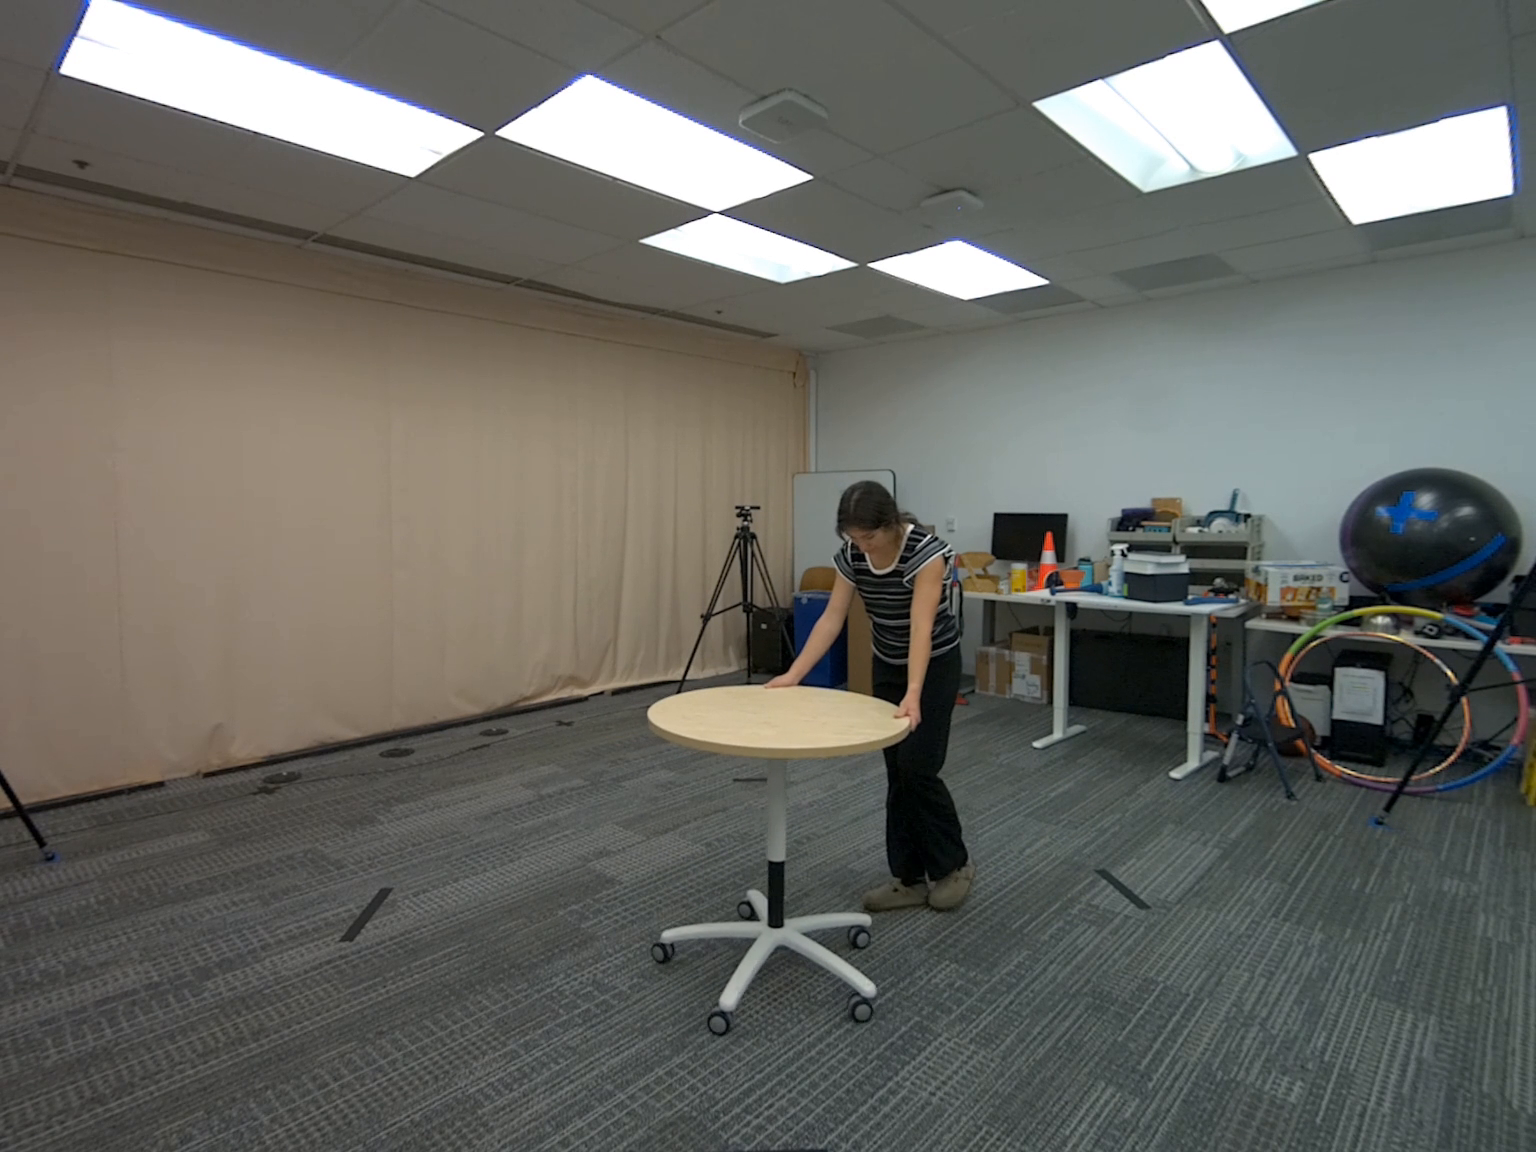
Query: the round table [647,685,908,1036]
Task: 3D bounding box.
[{"bbox_3d":[0.017,0.795,2.506,0.763,0.792,0.766,0,4,-2],"label":"round table"}]
